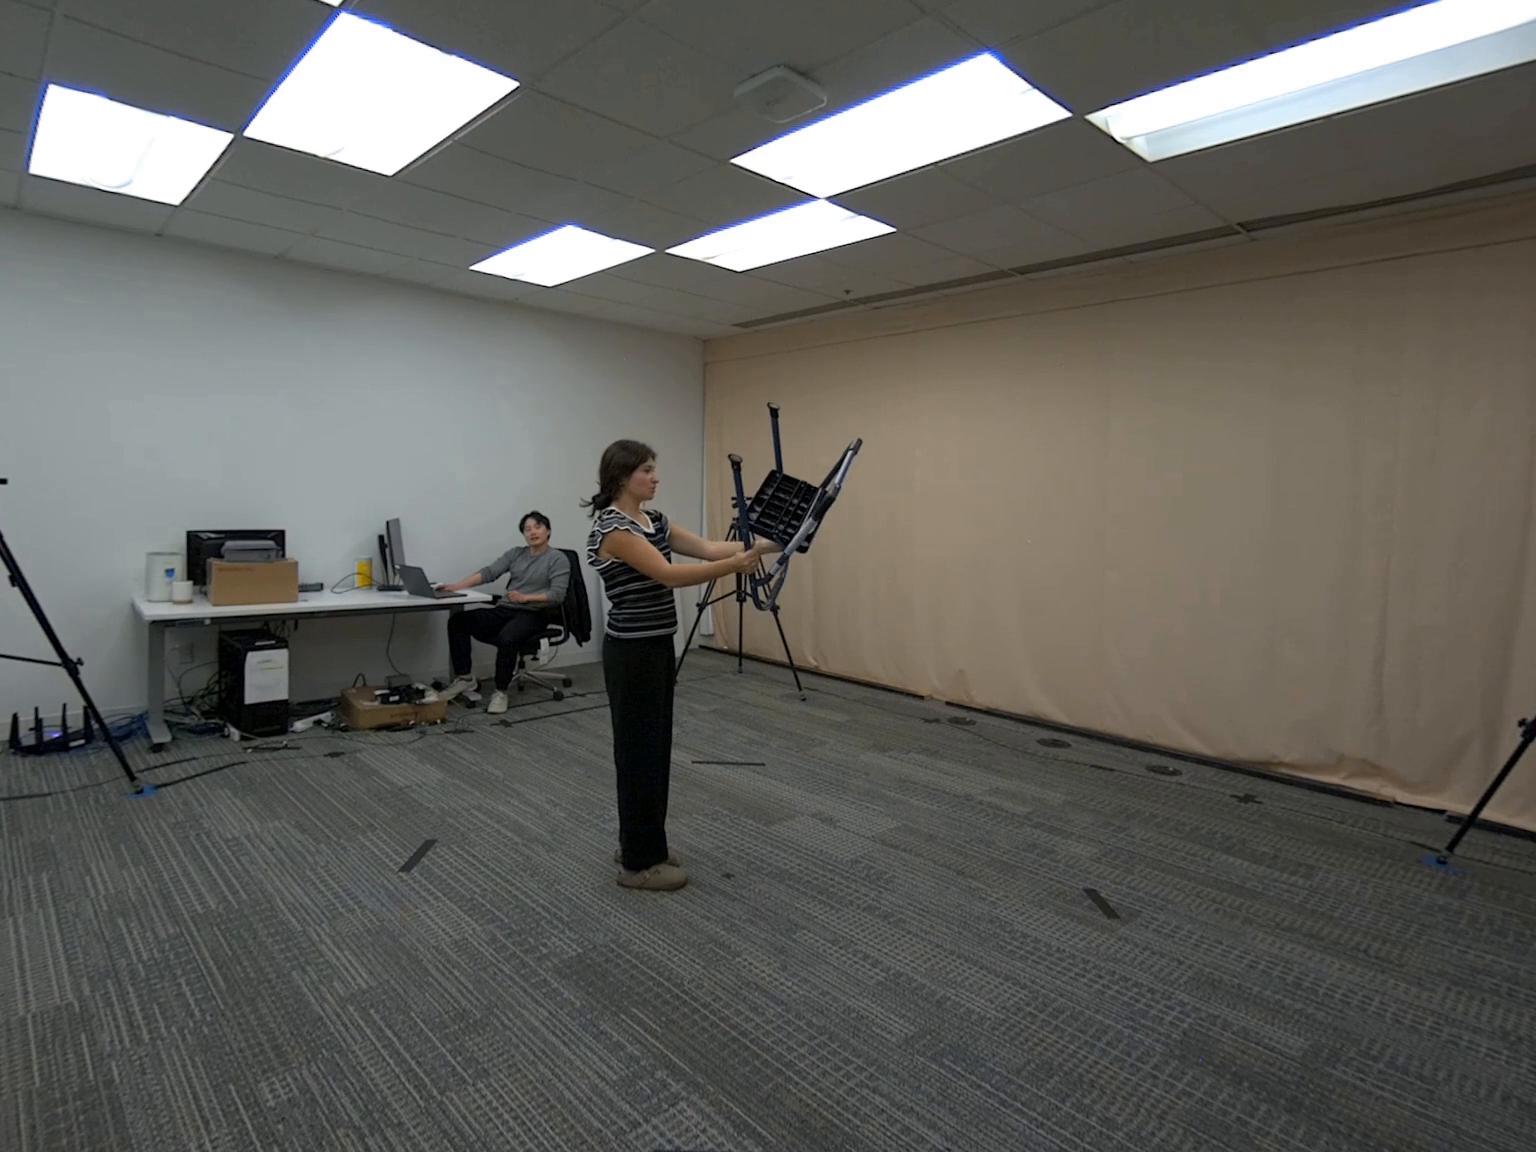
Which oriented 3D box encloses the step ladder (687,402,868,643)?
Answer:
[{"bbox_3d":[0.025,-0.186,2.888,0.352,0.598,0.433,24,40,6],"label":"step ladder"}]
